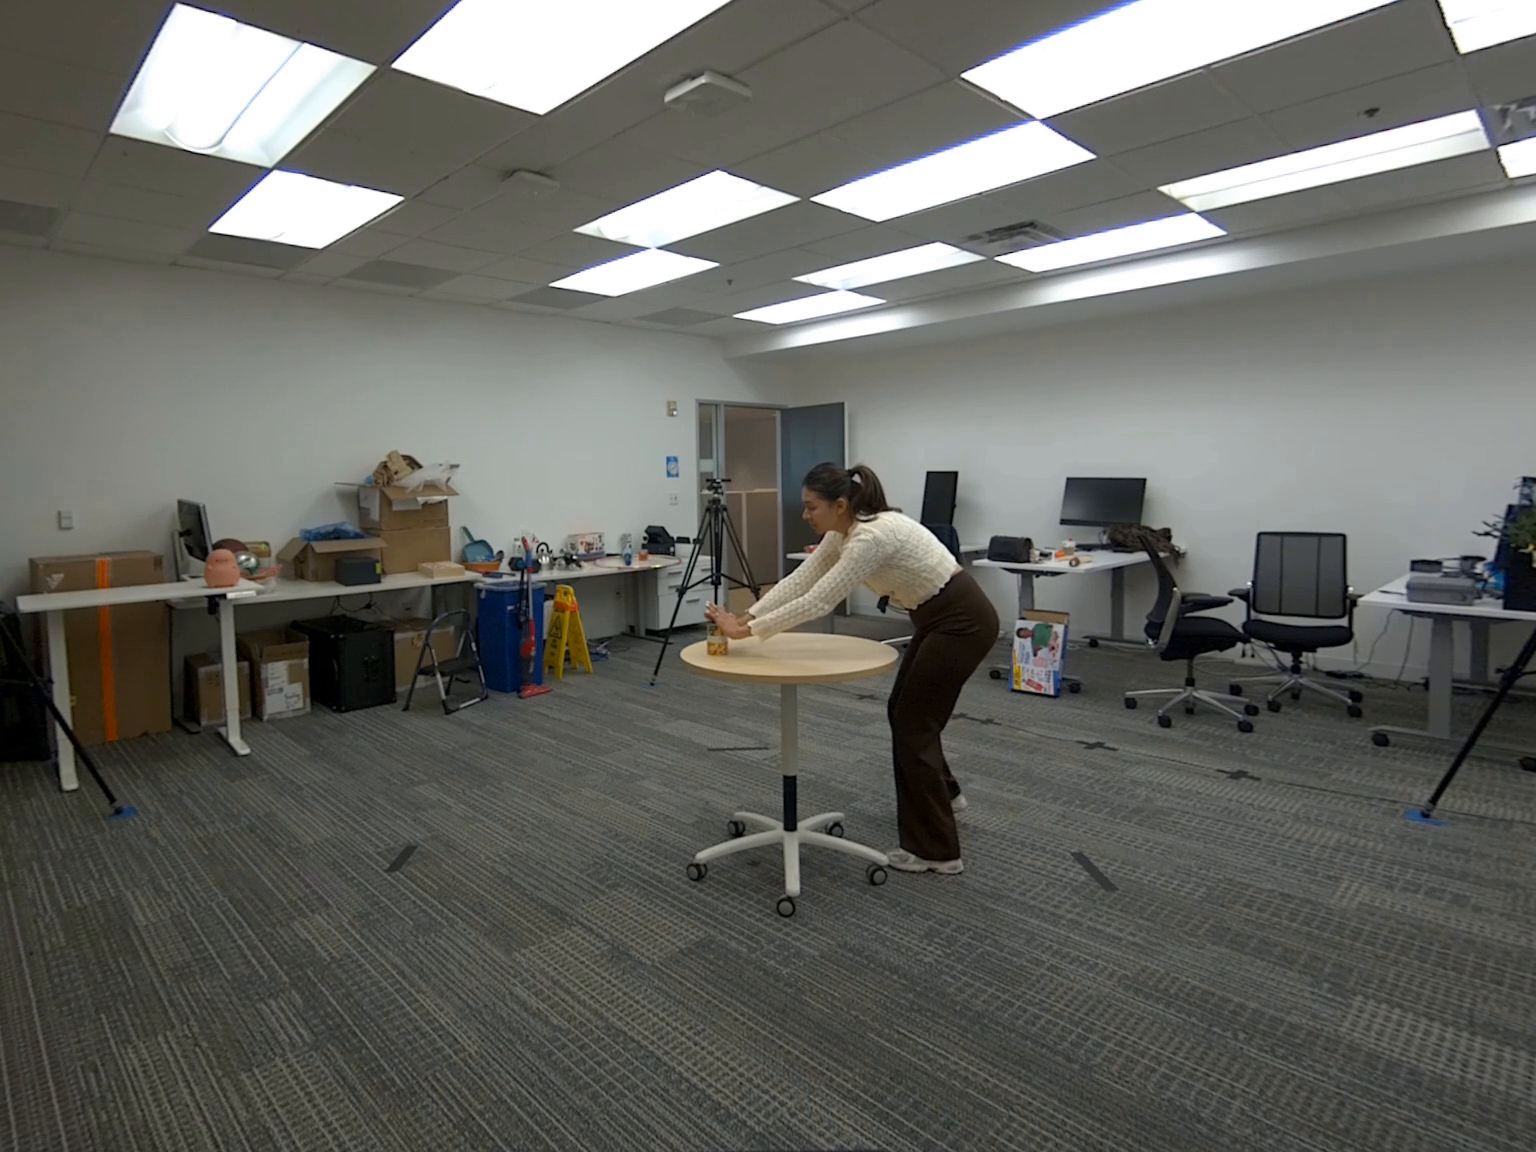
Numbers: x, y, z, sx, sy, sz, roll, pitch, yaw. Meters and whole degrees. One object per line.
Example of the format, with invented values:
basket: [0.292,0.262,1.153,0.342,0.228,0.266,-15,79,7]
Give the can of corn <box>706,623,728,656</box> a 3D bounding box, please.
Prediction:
can of corn: [-0.172,0.219,3.000,0.074,0.110,0.074,1,5,-2]
